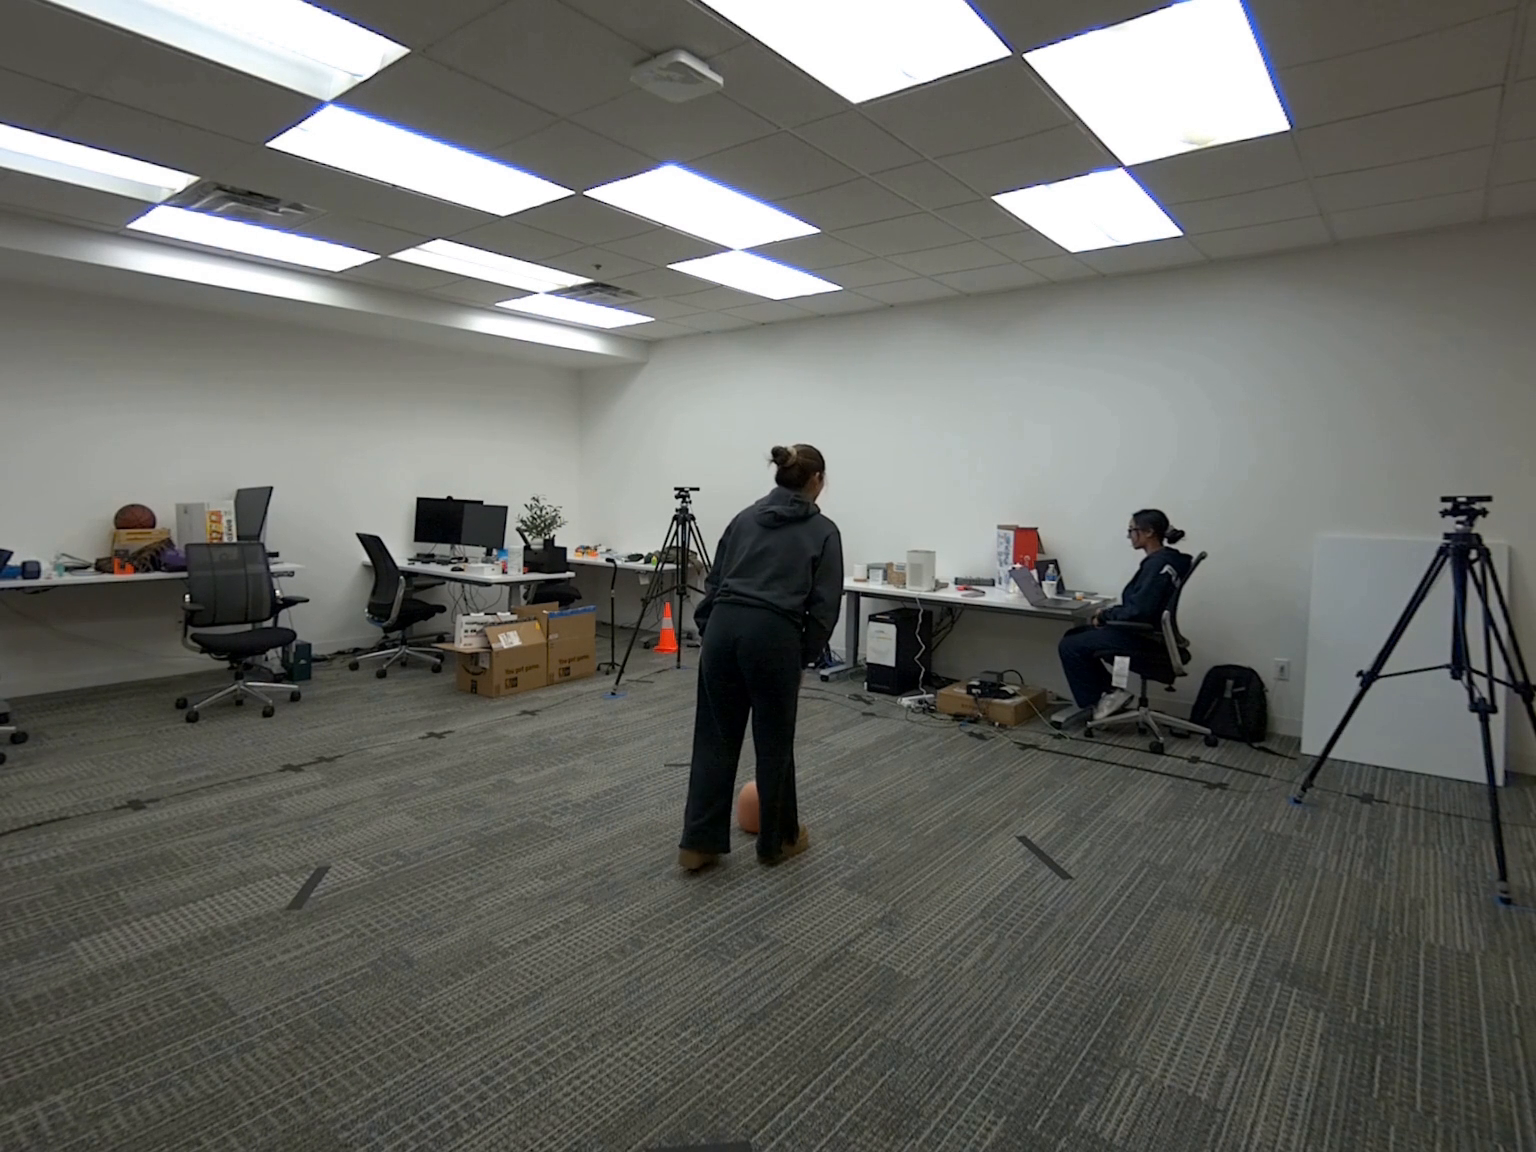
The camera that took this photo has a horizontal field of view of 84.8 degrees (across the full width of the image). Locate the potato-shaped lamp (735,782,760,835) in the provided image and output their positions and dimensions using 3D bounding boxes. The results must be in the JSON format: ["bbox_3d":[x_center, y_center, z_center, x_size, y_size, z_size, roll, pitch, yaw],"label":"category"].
[{"bbox_3d":[-0.049,0.931,3.477,0.170,0.197,0.167,3,8,33],"label":"potato-shaped lamp"}]
